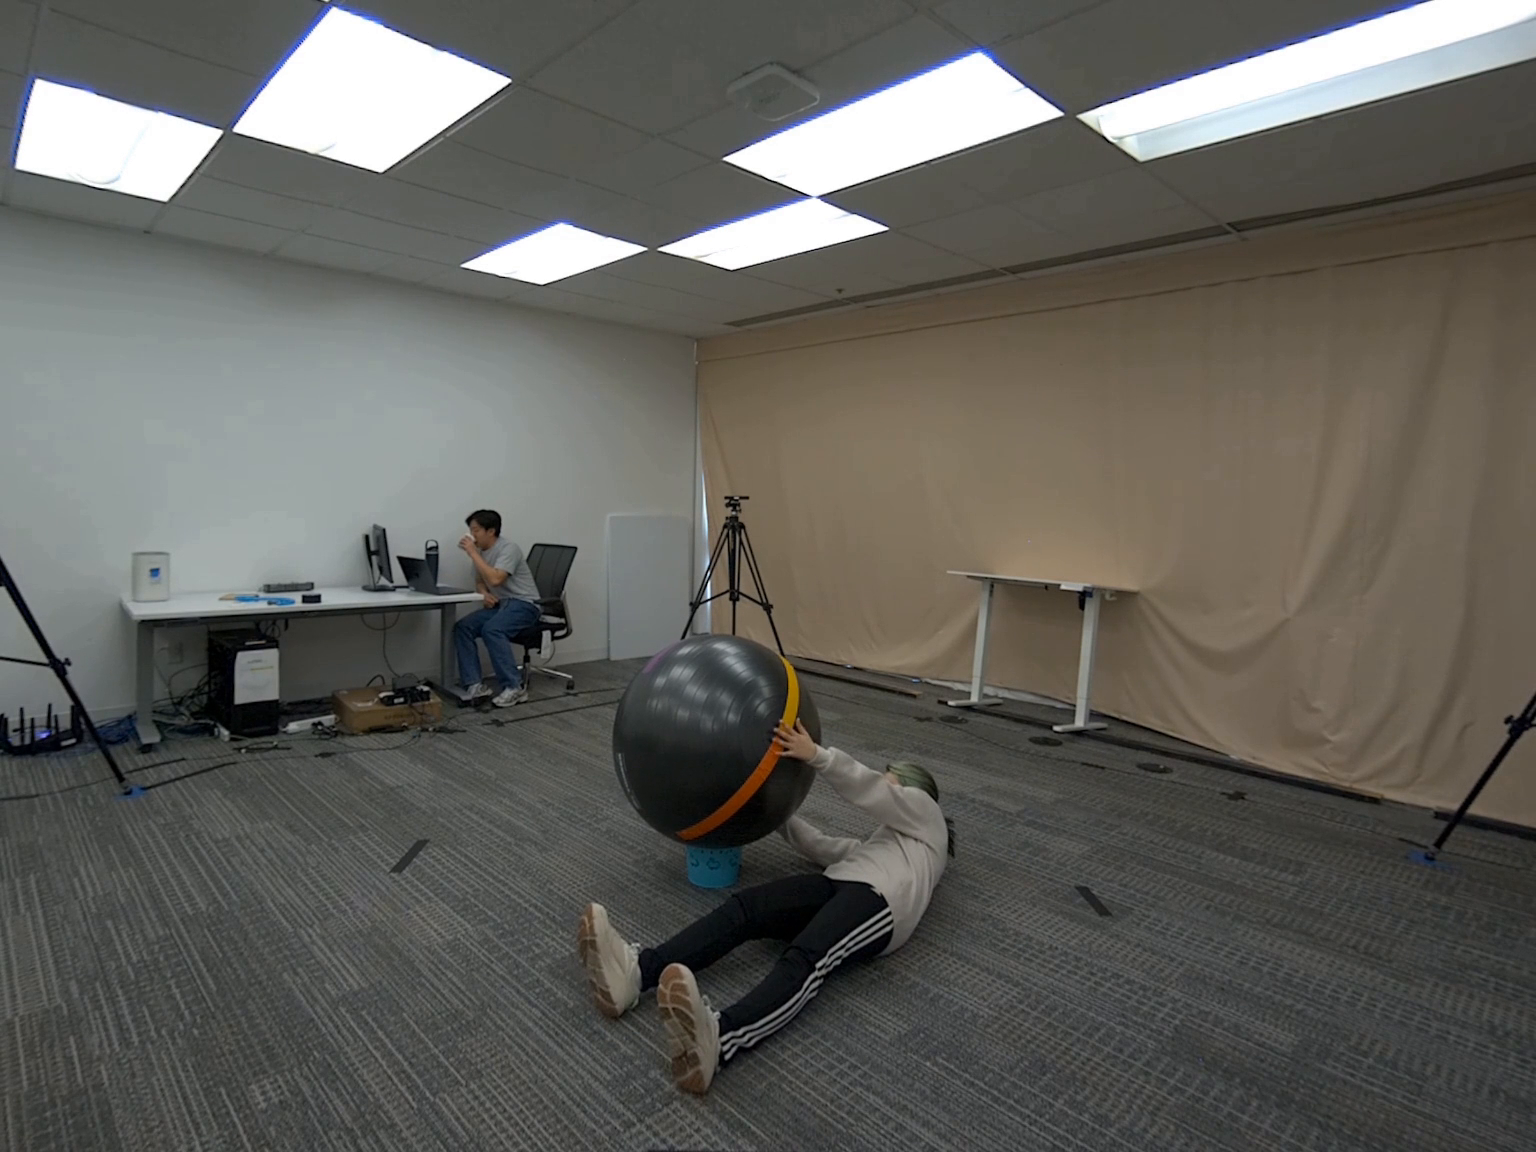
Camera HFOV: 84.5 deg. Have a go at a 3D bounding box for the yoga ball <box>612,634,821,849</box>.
[{"bbox_3d":[-0.193,0.592,3.064,0.757,0.756,0.761,1,4,-1],"label":"yoga ball"}]
